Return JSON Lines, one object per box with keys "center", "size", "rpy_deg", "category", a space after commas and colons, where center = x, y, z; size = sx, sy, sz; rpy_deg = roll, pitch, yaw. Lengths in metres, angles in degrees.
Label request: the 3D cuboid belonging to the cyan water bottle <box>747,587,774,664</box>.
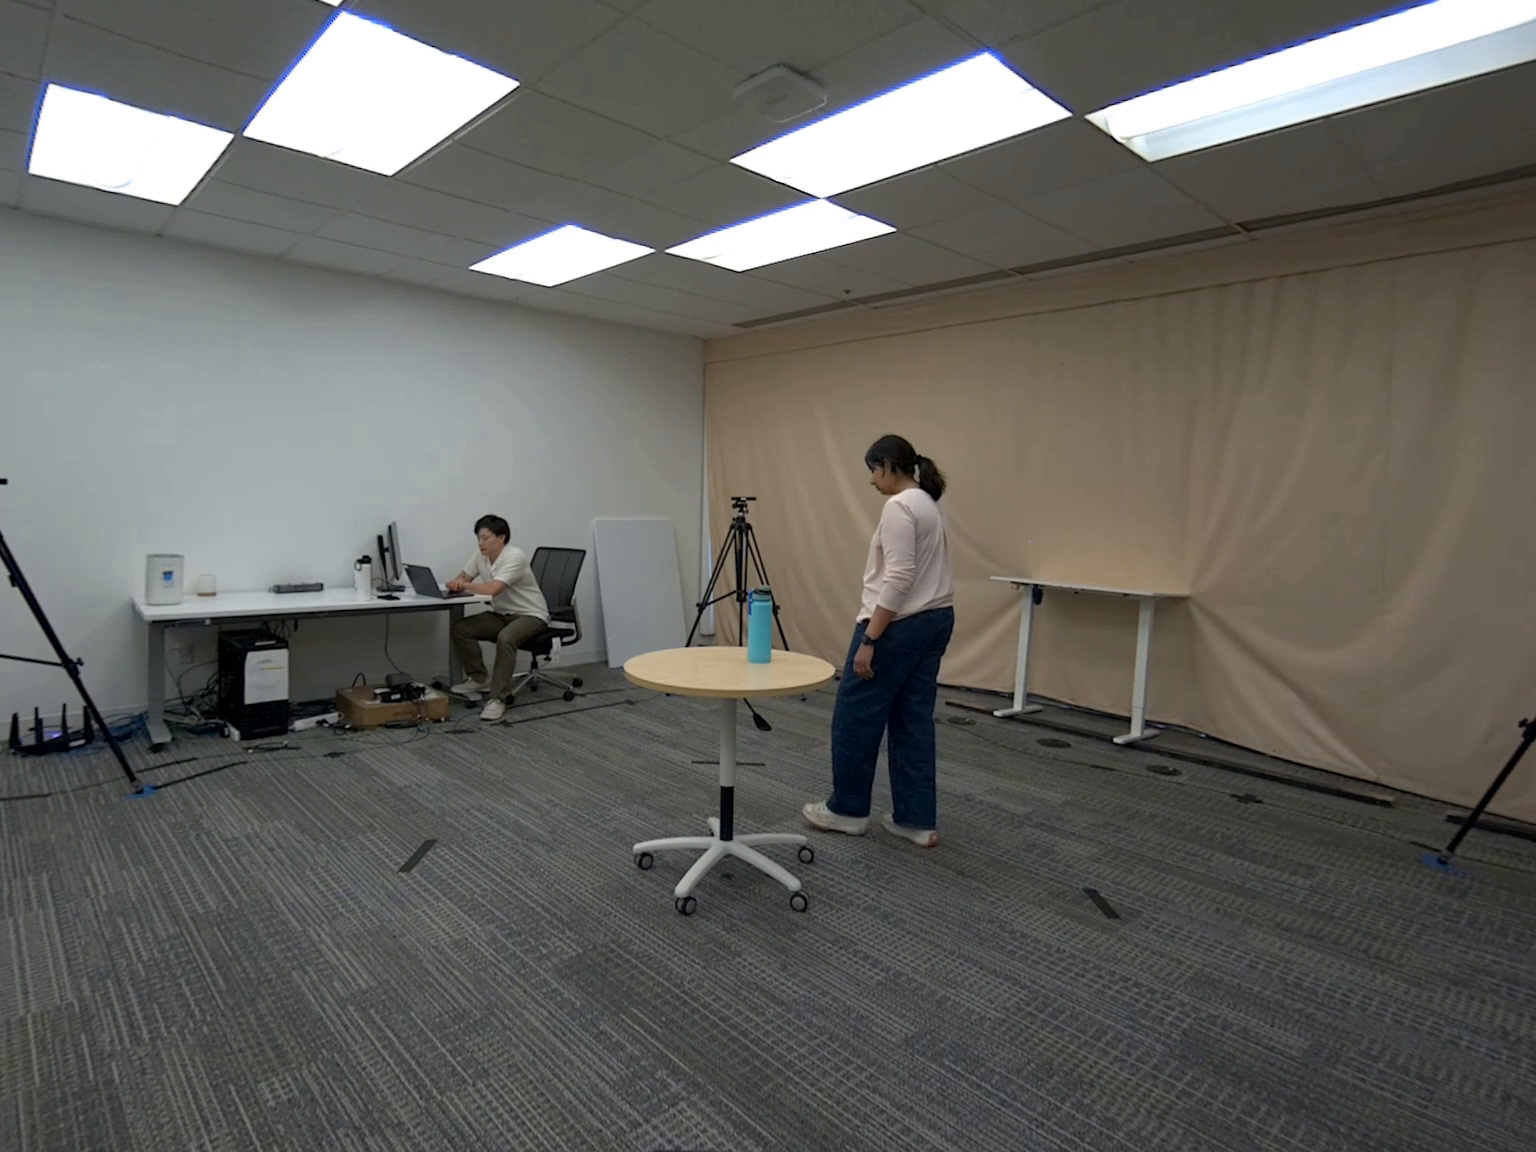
{"center": [-0.039, 0.180, 3.150], "size": [0.092, 0.283, 0.092], "rpy_deg": [0, 3, -1], "category": "cyan water bottle"}
